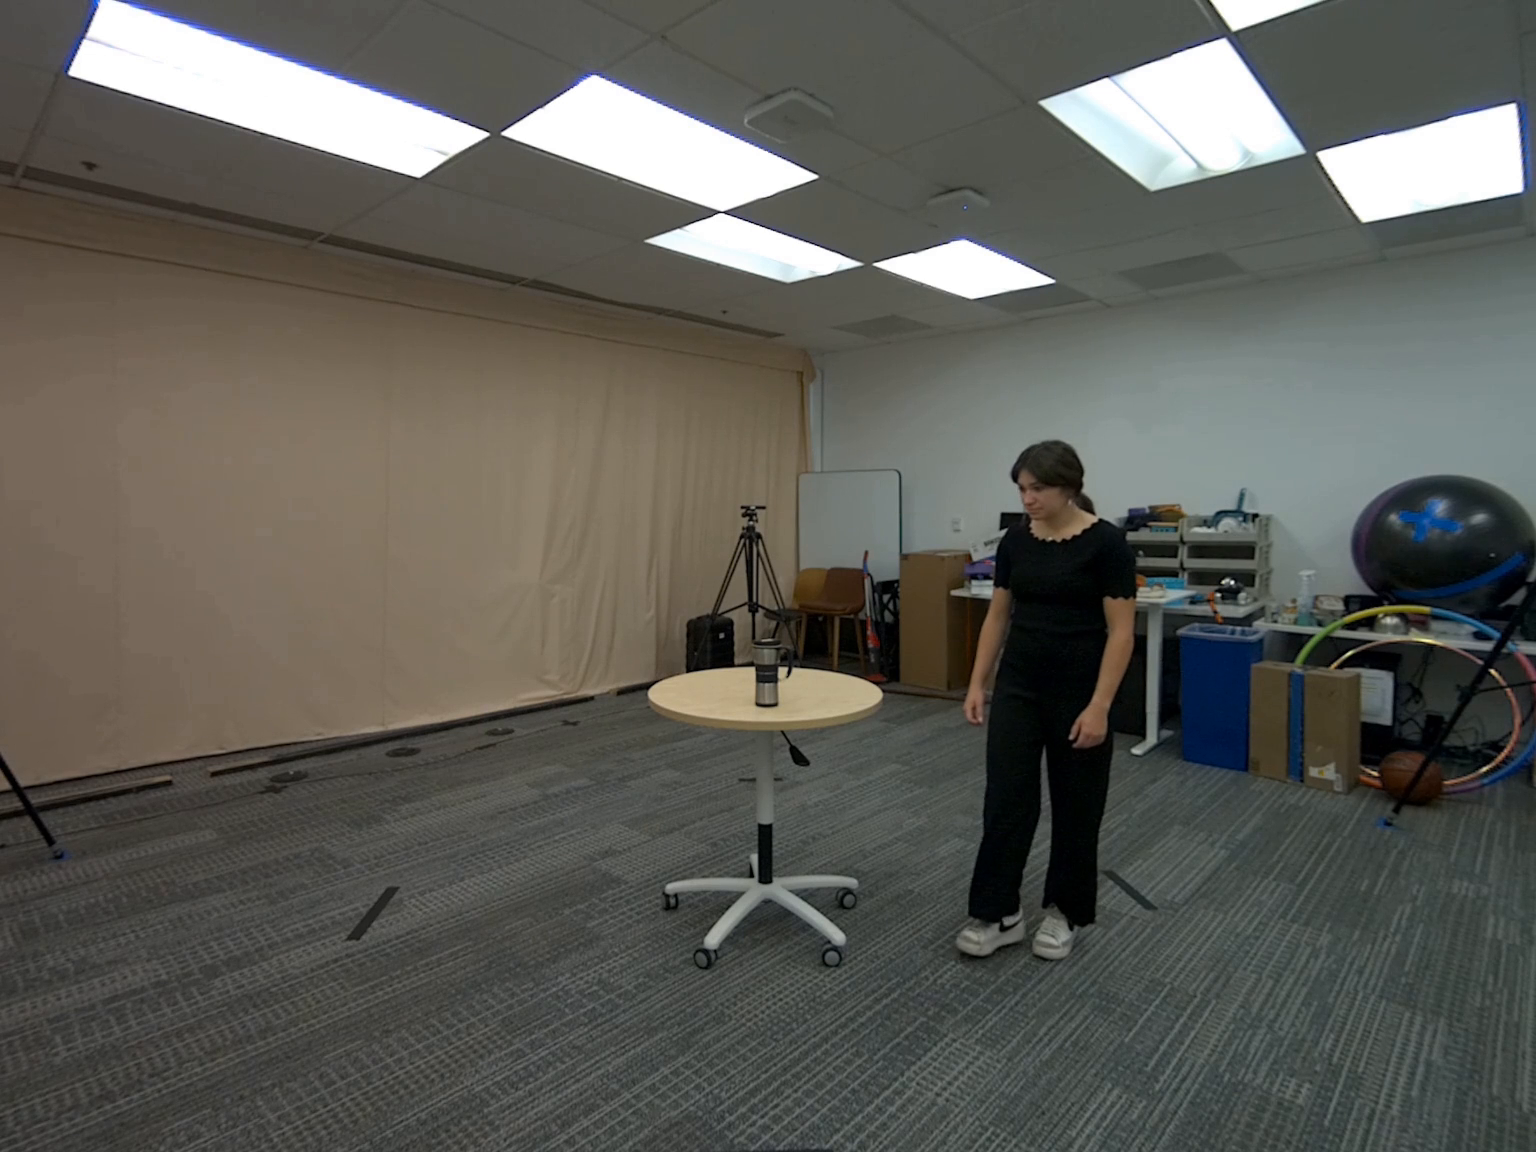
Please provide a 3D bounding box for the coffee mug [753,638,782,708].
[{"bbox_3d":[0.018,0.298,2.564,0.085,0.203,0.126,6,-5,-41],"label":"coffee mug"}]
